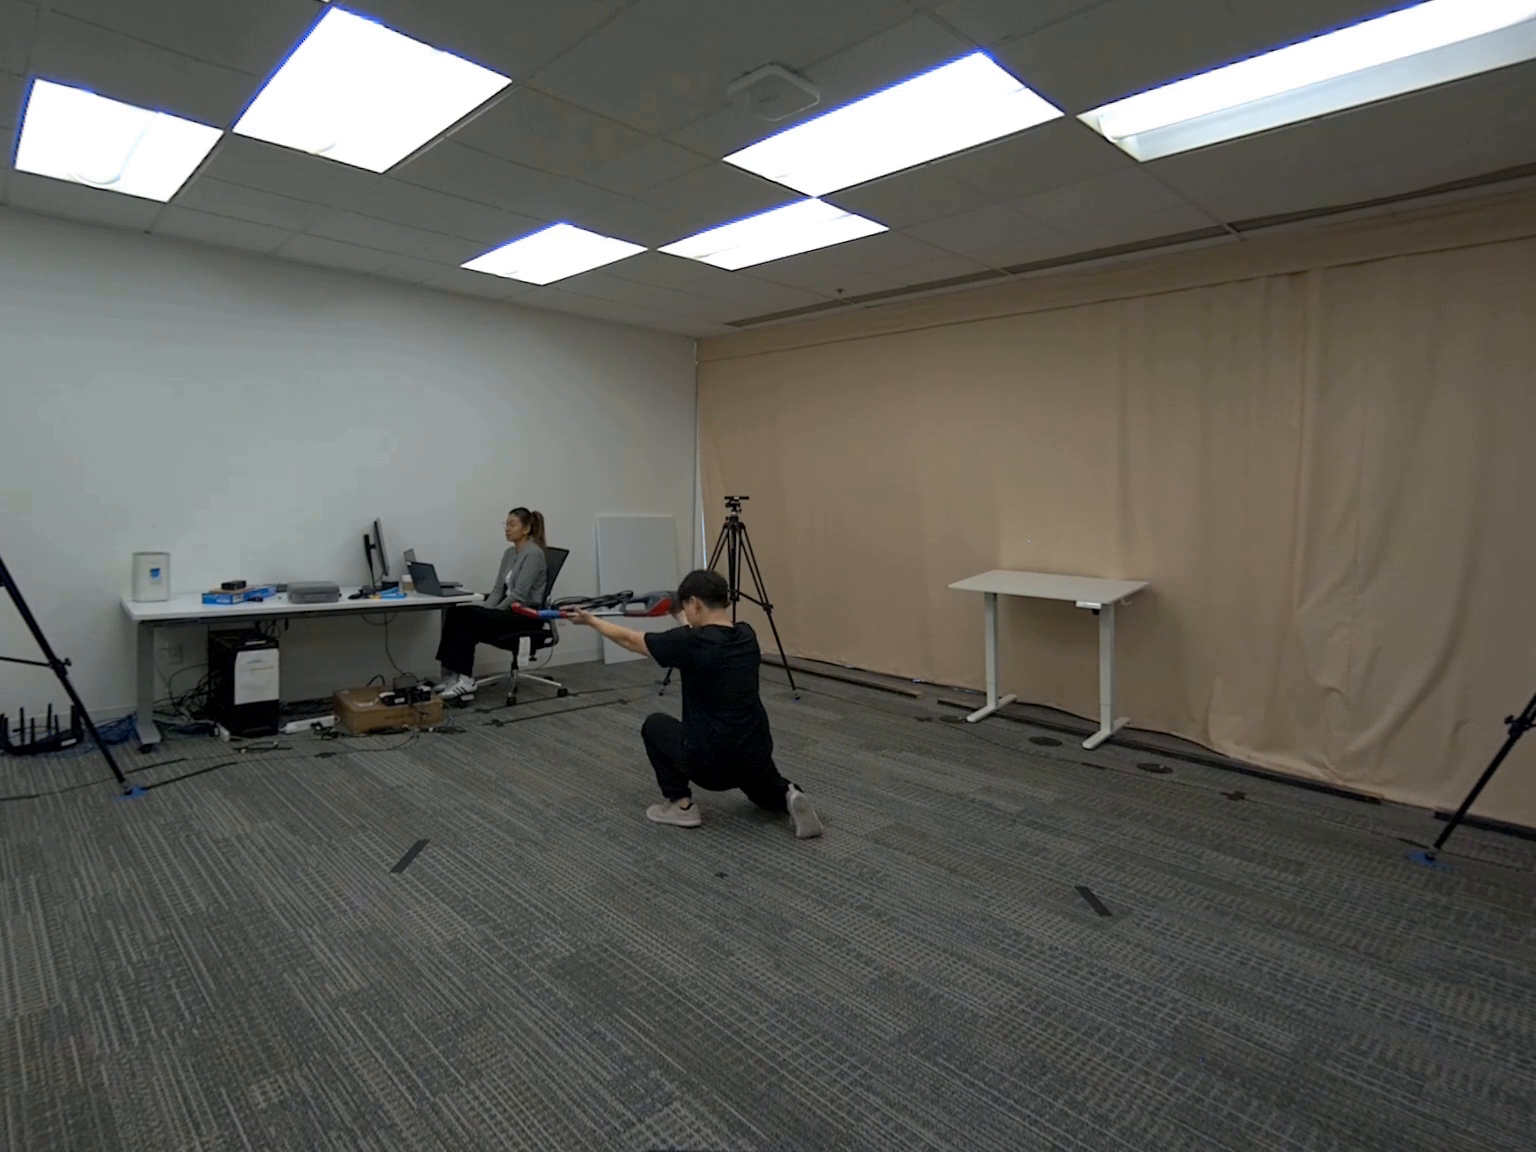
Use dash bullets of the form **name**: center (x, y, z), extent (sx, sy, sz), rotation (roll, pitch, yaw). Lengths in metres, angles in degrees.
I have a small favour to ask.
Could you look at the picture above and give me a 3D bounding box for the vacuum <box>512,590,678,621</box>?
- **vacuum**: center (-0.669, 0.133, 3.828), extent (1.024, 0.147, 0.254), rotation (3, -27, -41)
